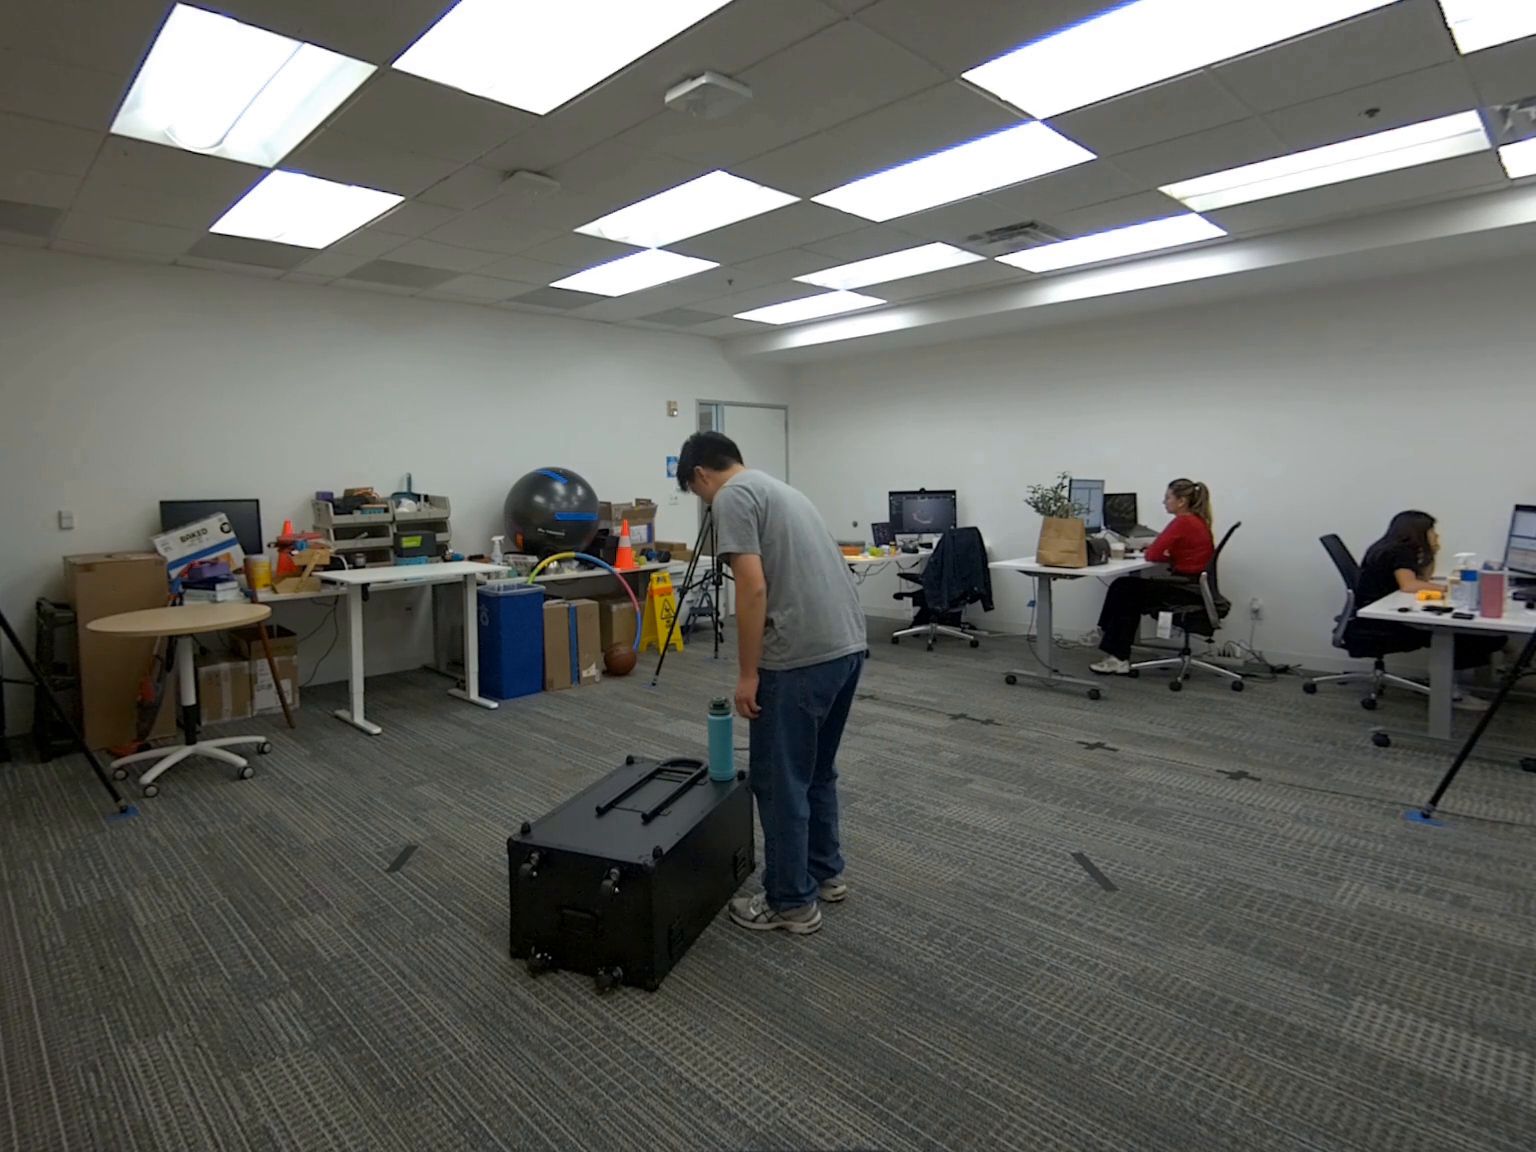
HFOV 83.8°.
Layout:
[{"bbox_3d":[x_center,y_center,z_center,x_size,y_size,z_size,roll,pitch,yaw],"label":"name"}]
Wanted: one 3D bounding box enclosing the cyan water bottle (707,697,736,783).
[{"bbox_3d":[-0.162,0.563,2.980,0.092,0.282,0.093,-4,3,-1],"label":"cyan water bottle"}]
